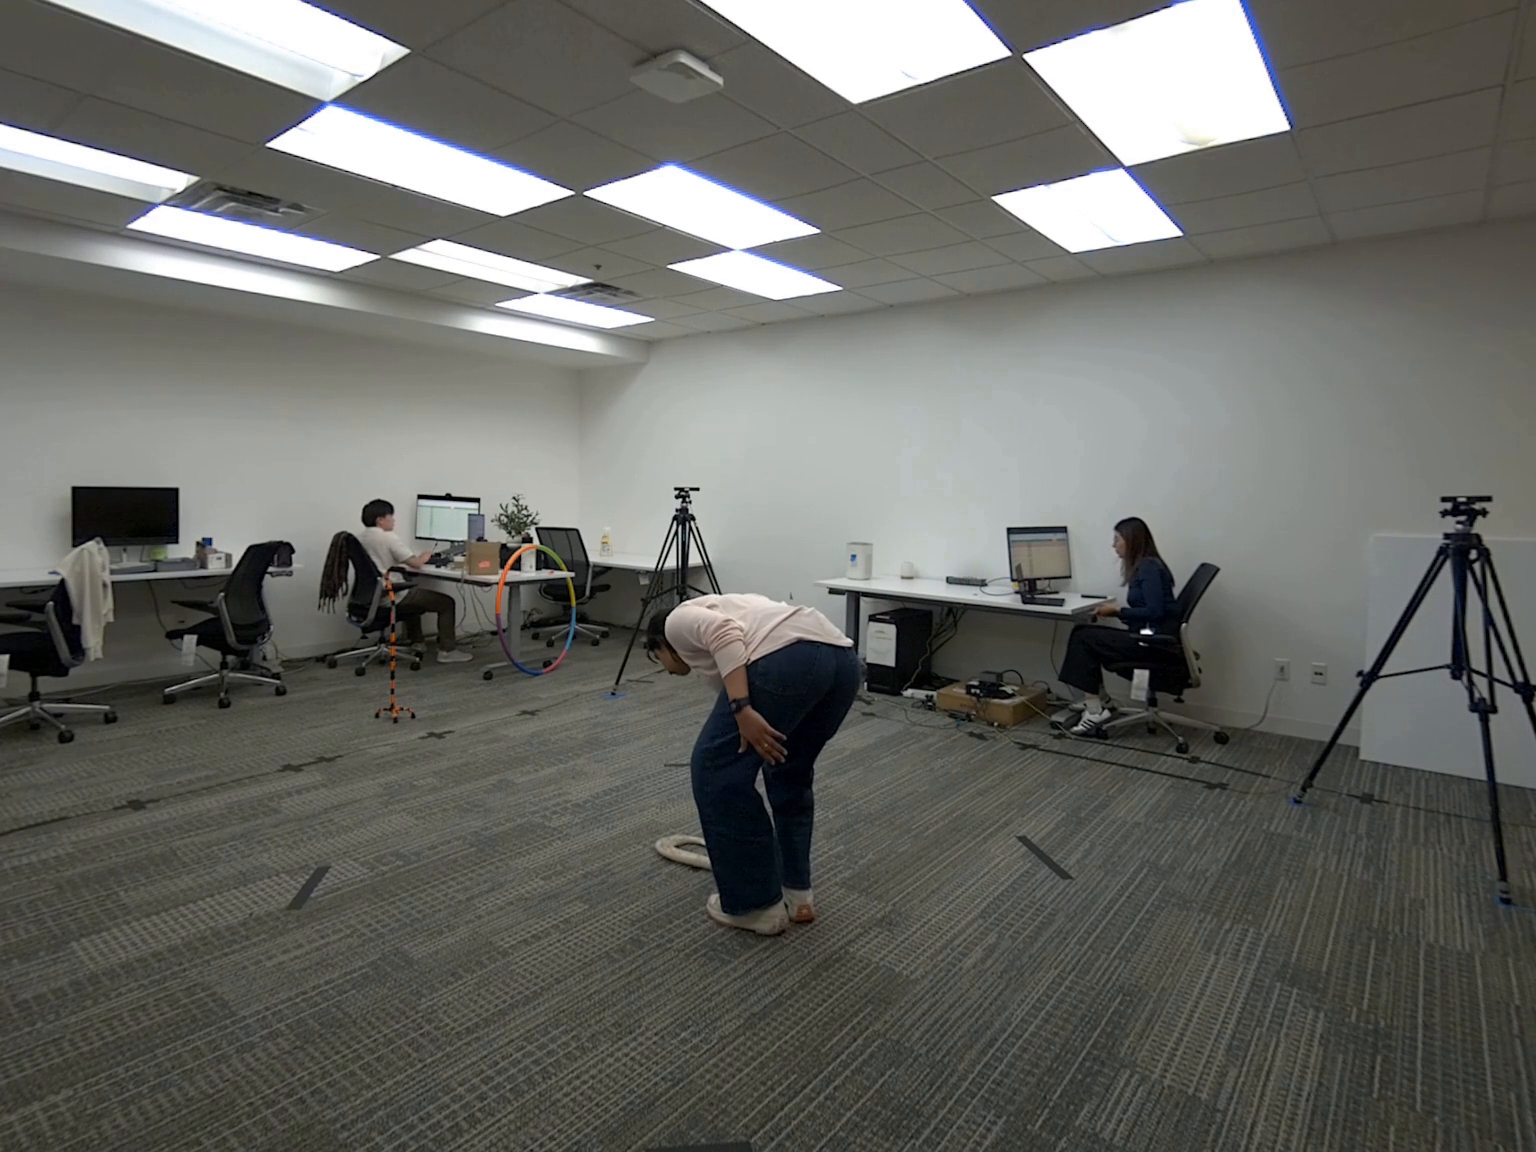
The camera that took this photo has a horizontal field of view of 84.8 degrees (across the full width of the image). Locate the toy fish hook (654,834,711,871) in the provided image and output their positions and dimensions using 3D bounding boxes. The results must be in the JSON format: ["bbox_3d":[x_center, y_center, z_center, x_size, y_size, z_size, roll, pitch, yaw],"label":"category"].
[{"bbox_3d":[-0.209,1.038,3.152,0.524,0.048,0.218,6,9,41],"label":"toy fish hook"}]
